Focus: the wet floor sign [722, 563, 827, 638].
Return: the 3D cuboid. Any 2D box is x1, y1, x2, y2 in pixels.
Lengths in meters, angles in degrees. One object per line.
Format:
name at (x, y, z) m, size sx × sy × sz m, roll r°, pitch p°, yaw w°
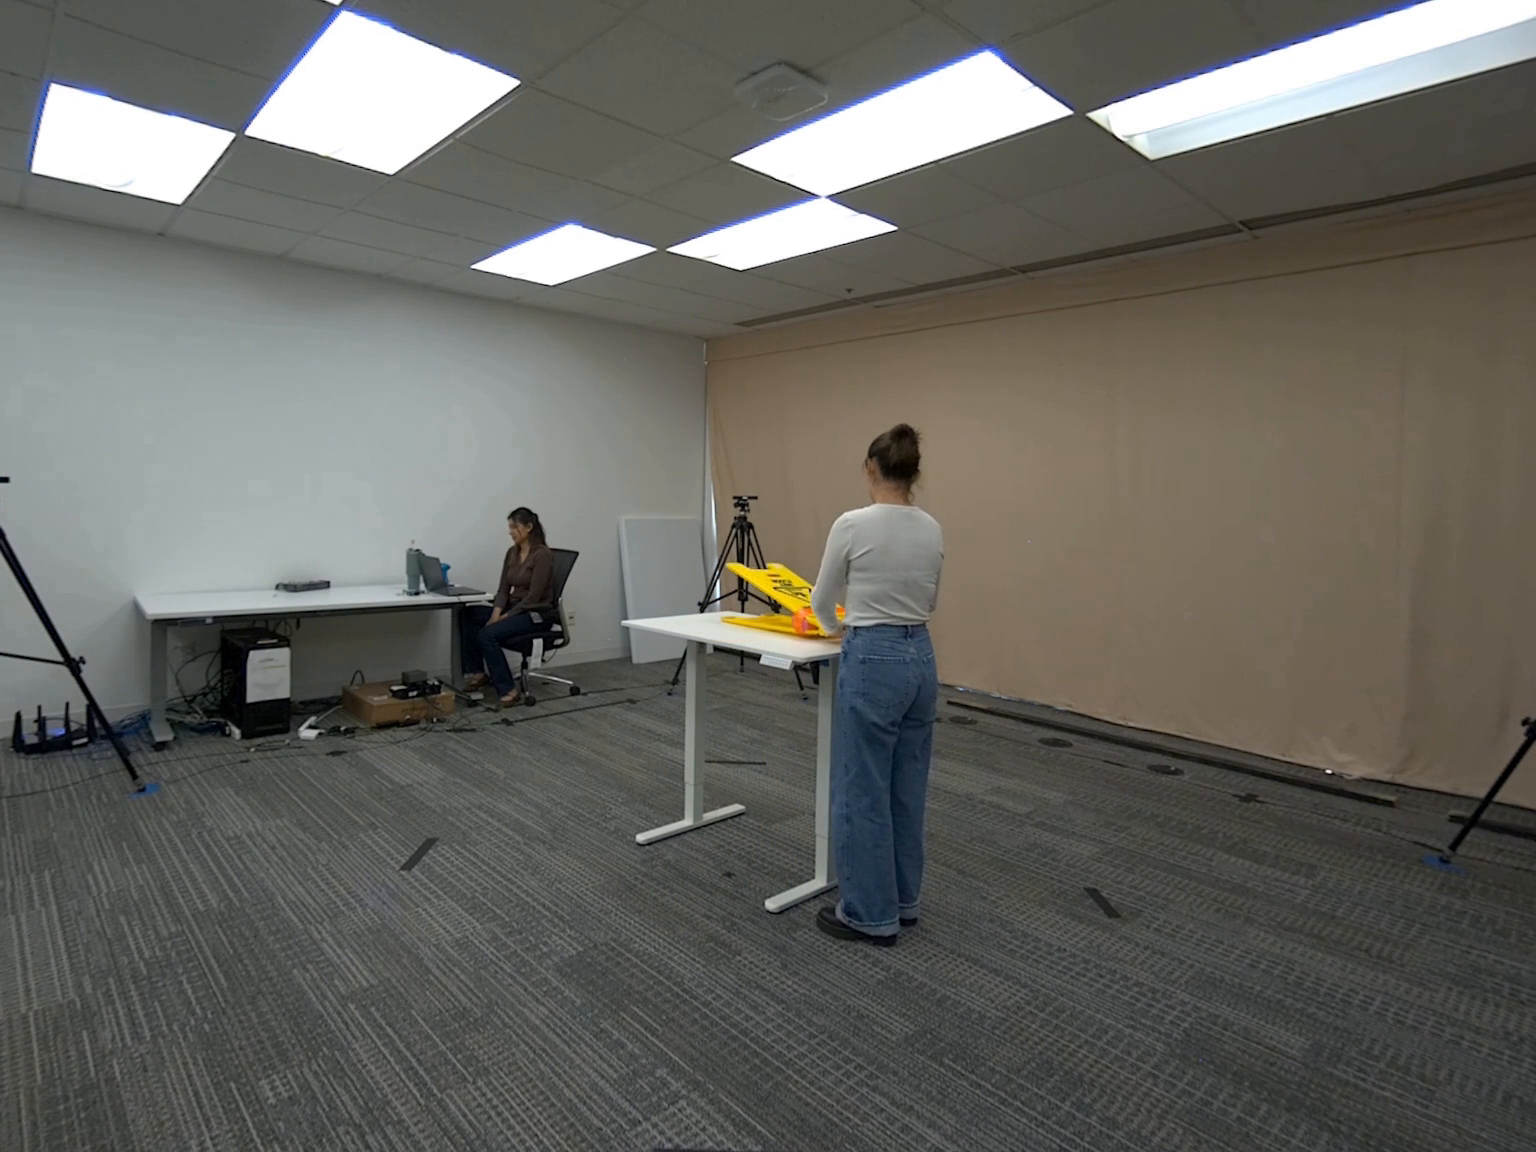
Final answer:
wet floor sign at (0.088, 0.144, 3.257) m, size 0.276 × 0.288 × 0.664 m, roll 0°, pitch 12°, yaw -33°
